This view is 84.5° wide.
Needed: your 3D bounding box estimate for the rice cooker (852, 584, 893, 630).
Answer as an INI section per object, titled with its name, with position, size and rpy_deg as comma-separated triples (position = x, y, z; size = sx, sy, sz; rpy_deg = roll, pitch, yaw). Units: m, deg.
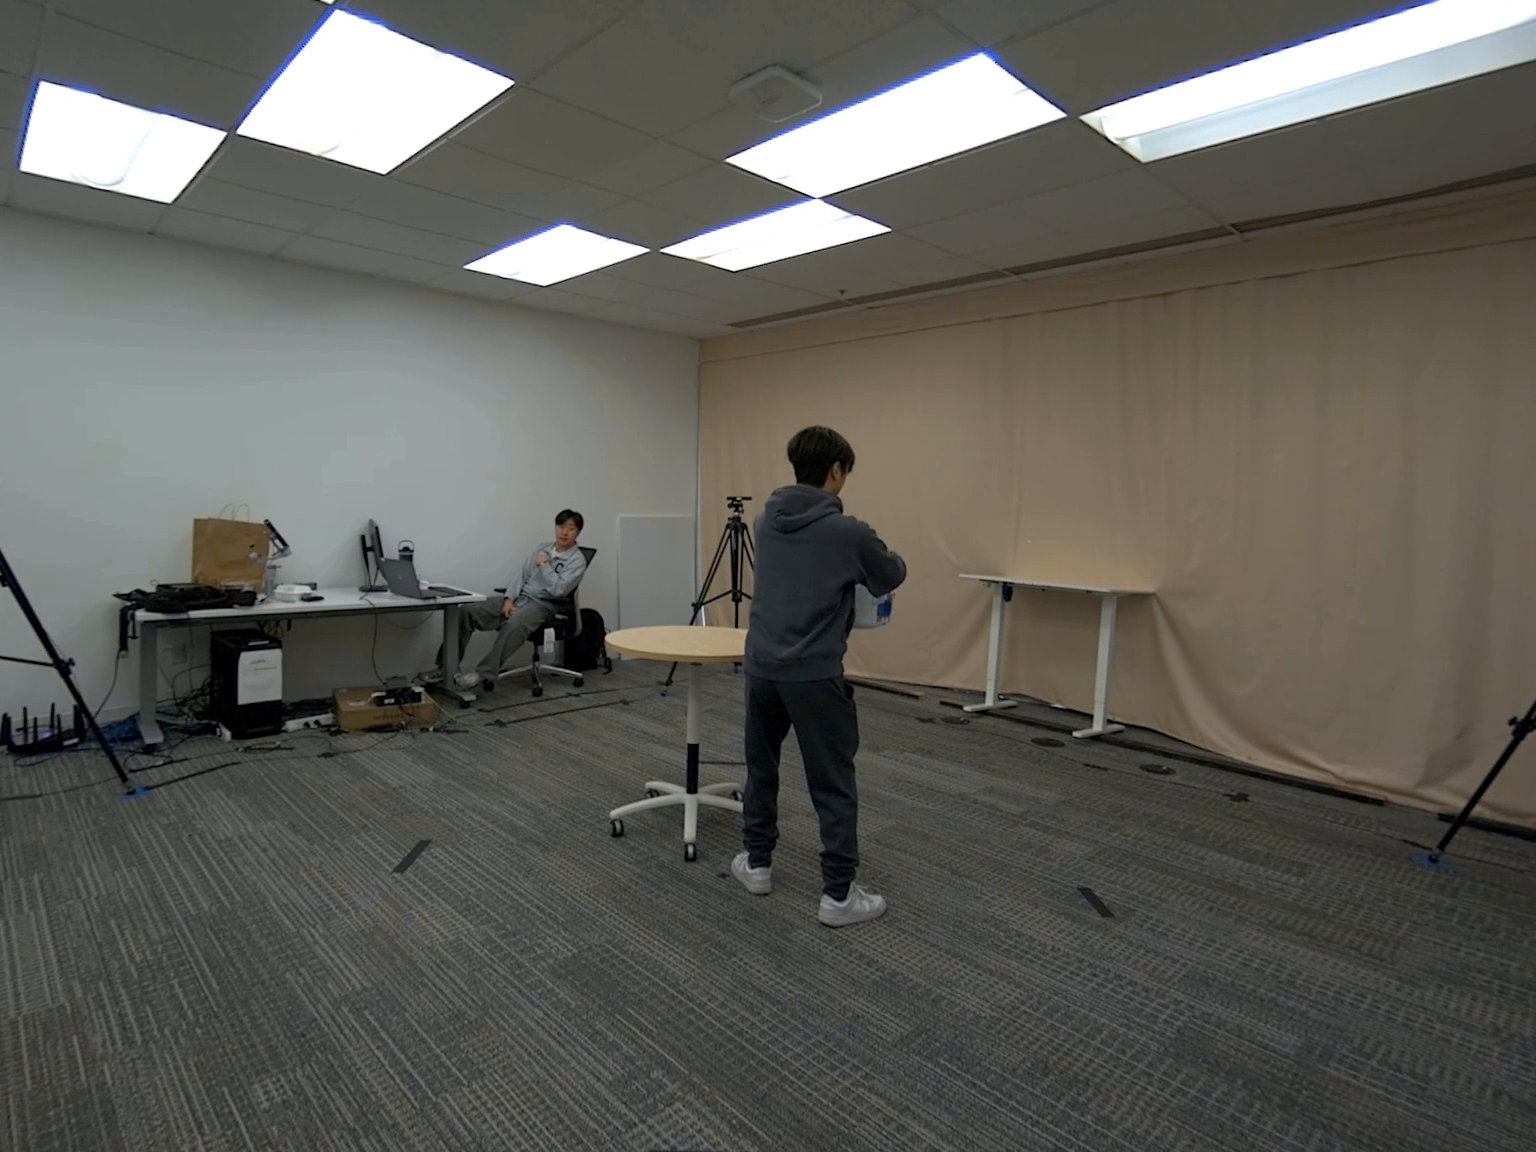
[rice cooker]
position = 0.351, 0.080, 3.282
size = 0.212, 0.231, 0.227
rpy_deg = -1, 12, -44
